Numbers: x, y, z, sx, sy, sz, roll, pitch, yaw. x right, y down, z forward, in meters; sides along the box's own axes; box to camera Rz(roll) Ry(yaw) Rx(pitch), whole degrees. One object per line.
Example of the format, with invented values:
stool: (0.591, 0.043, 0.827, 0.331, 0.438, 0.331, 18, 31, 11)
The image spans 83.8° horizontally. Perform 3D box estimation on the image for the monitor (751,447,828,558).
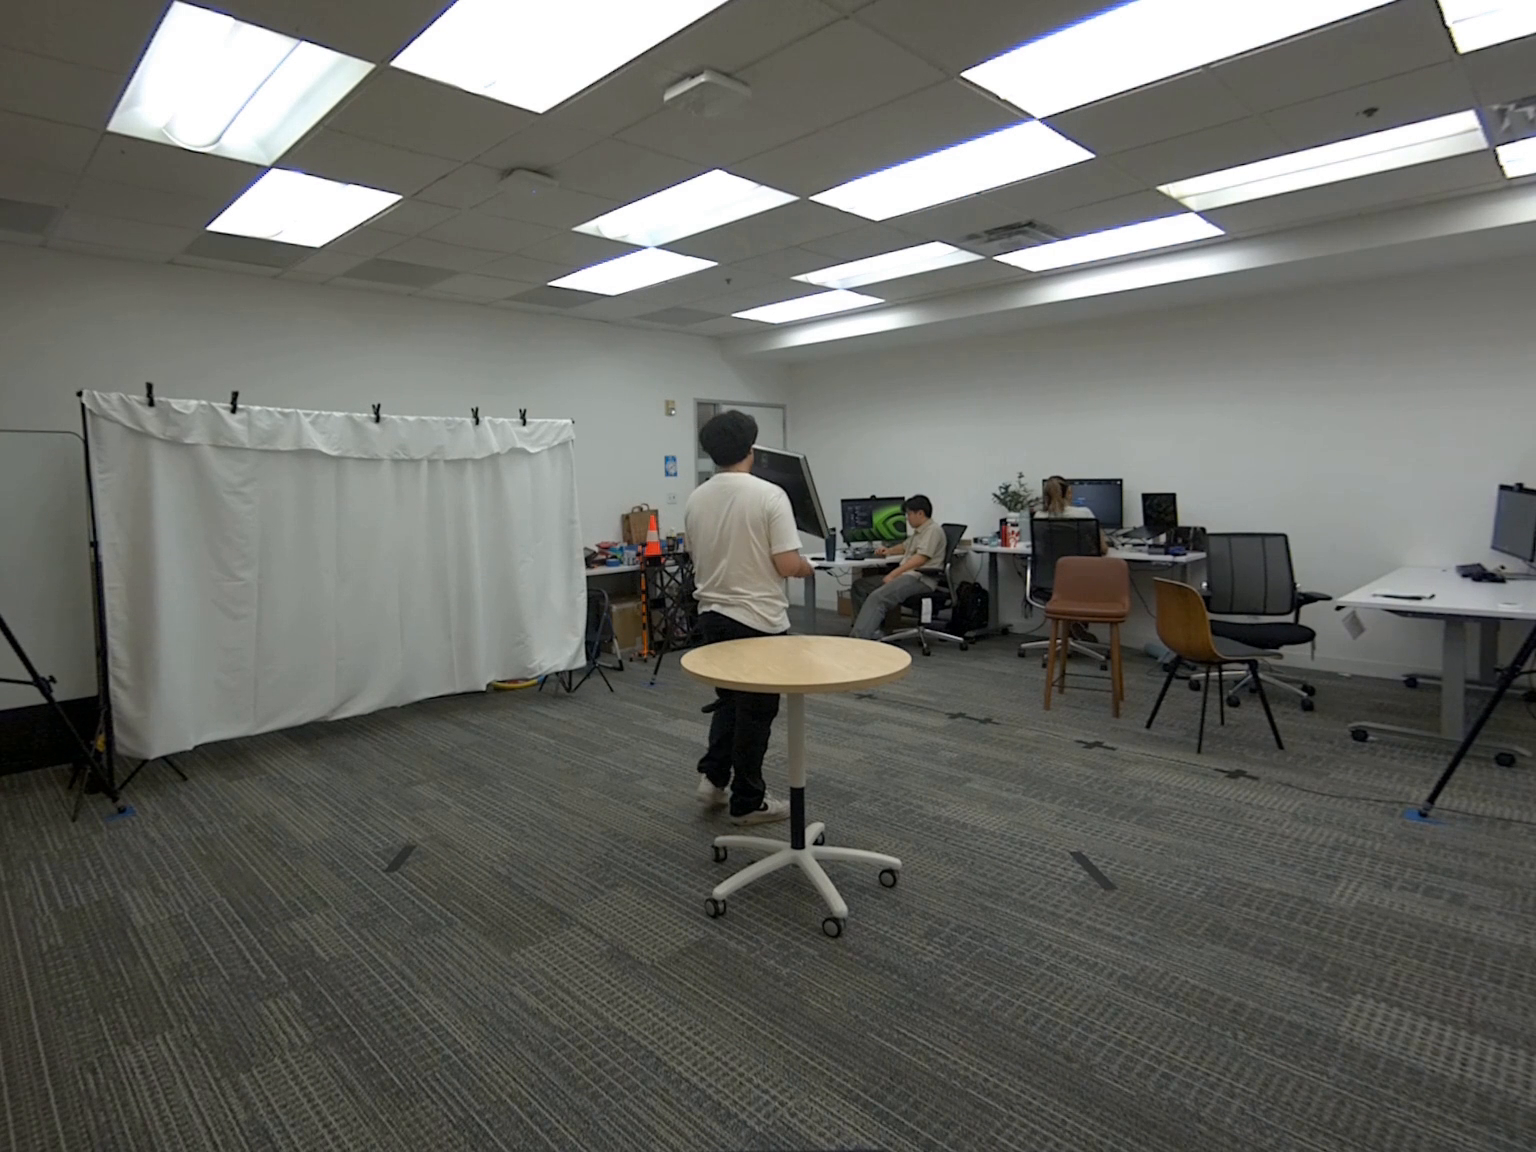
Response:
monitor: (0.008, -0.264, 3.604, 0.207, 0.543, 0.584, -21, 21, -22)
